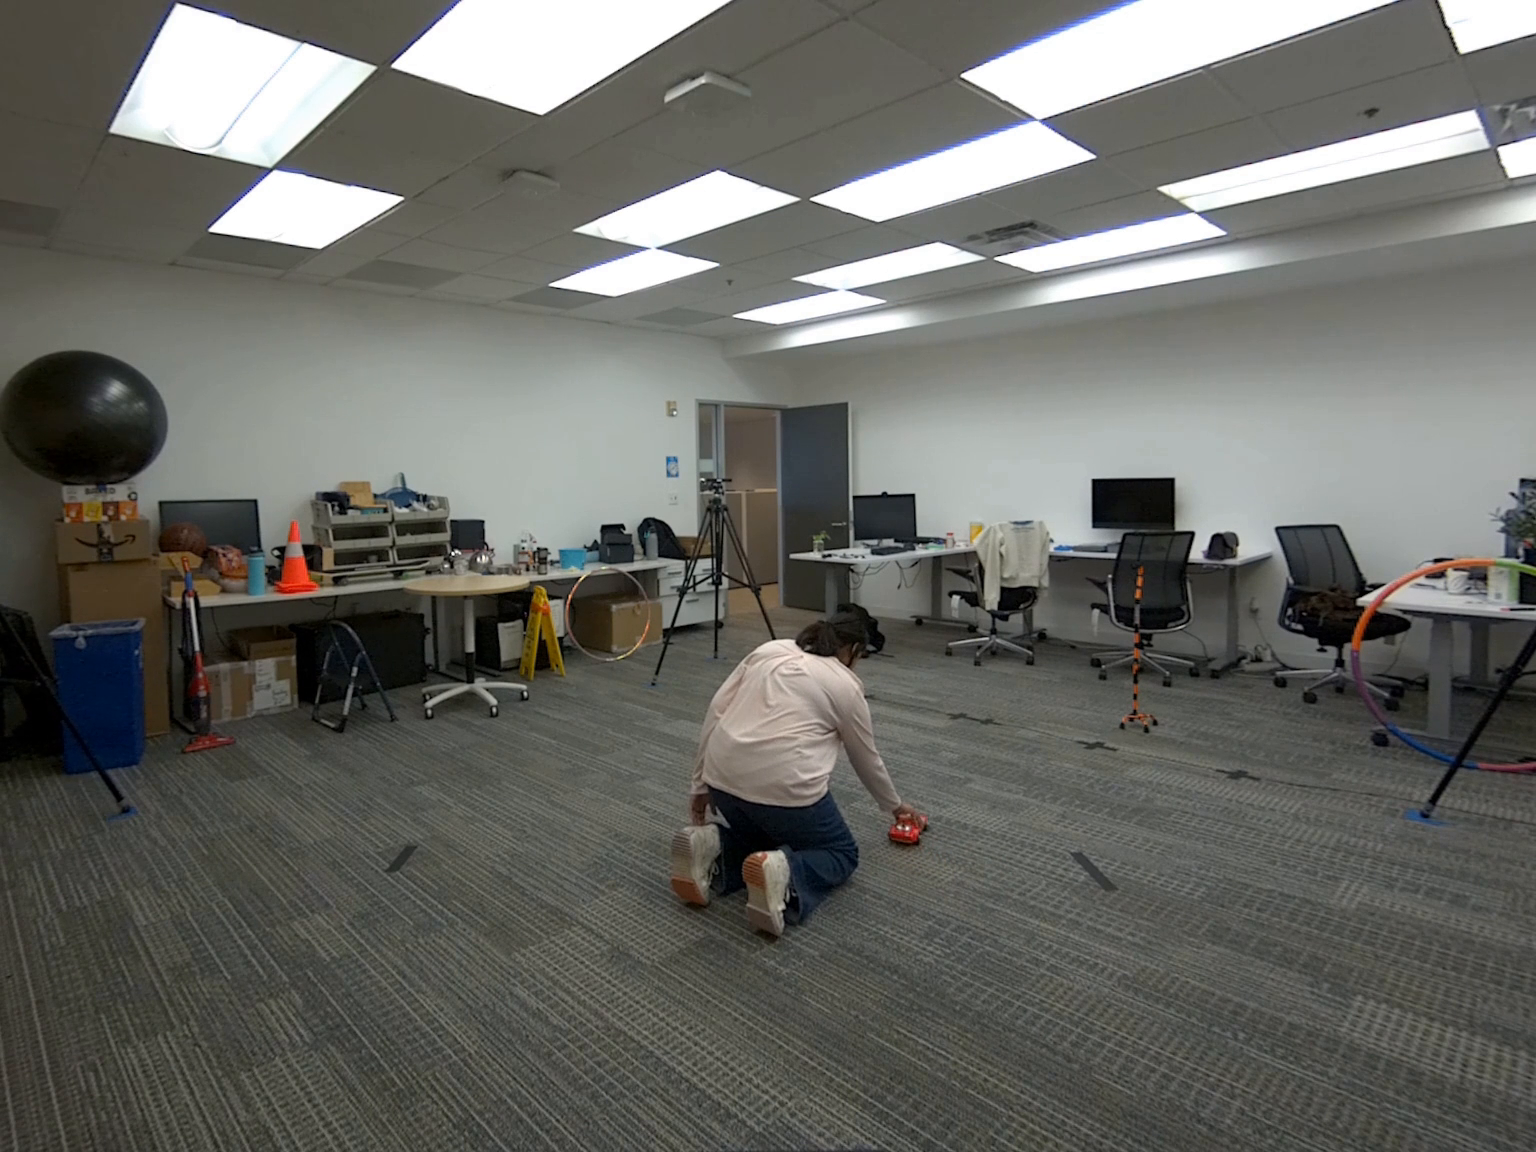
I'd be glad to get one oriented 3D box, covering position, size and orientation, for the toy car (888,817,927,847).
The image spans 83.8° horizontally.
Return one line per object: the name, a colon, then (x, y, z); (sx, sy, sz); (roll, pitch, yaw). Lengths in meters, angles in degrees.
toy car: (0.547, 0.984, 3.311); (0.133, 0.083, 0.248); (2, -5, 23)
